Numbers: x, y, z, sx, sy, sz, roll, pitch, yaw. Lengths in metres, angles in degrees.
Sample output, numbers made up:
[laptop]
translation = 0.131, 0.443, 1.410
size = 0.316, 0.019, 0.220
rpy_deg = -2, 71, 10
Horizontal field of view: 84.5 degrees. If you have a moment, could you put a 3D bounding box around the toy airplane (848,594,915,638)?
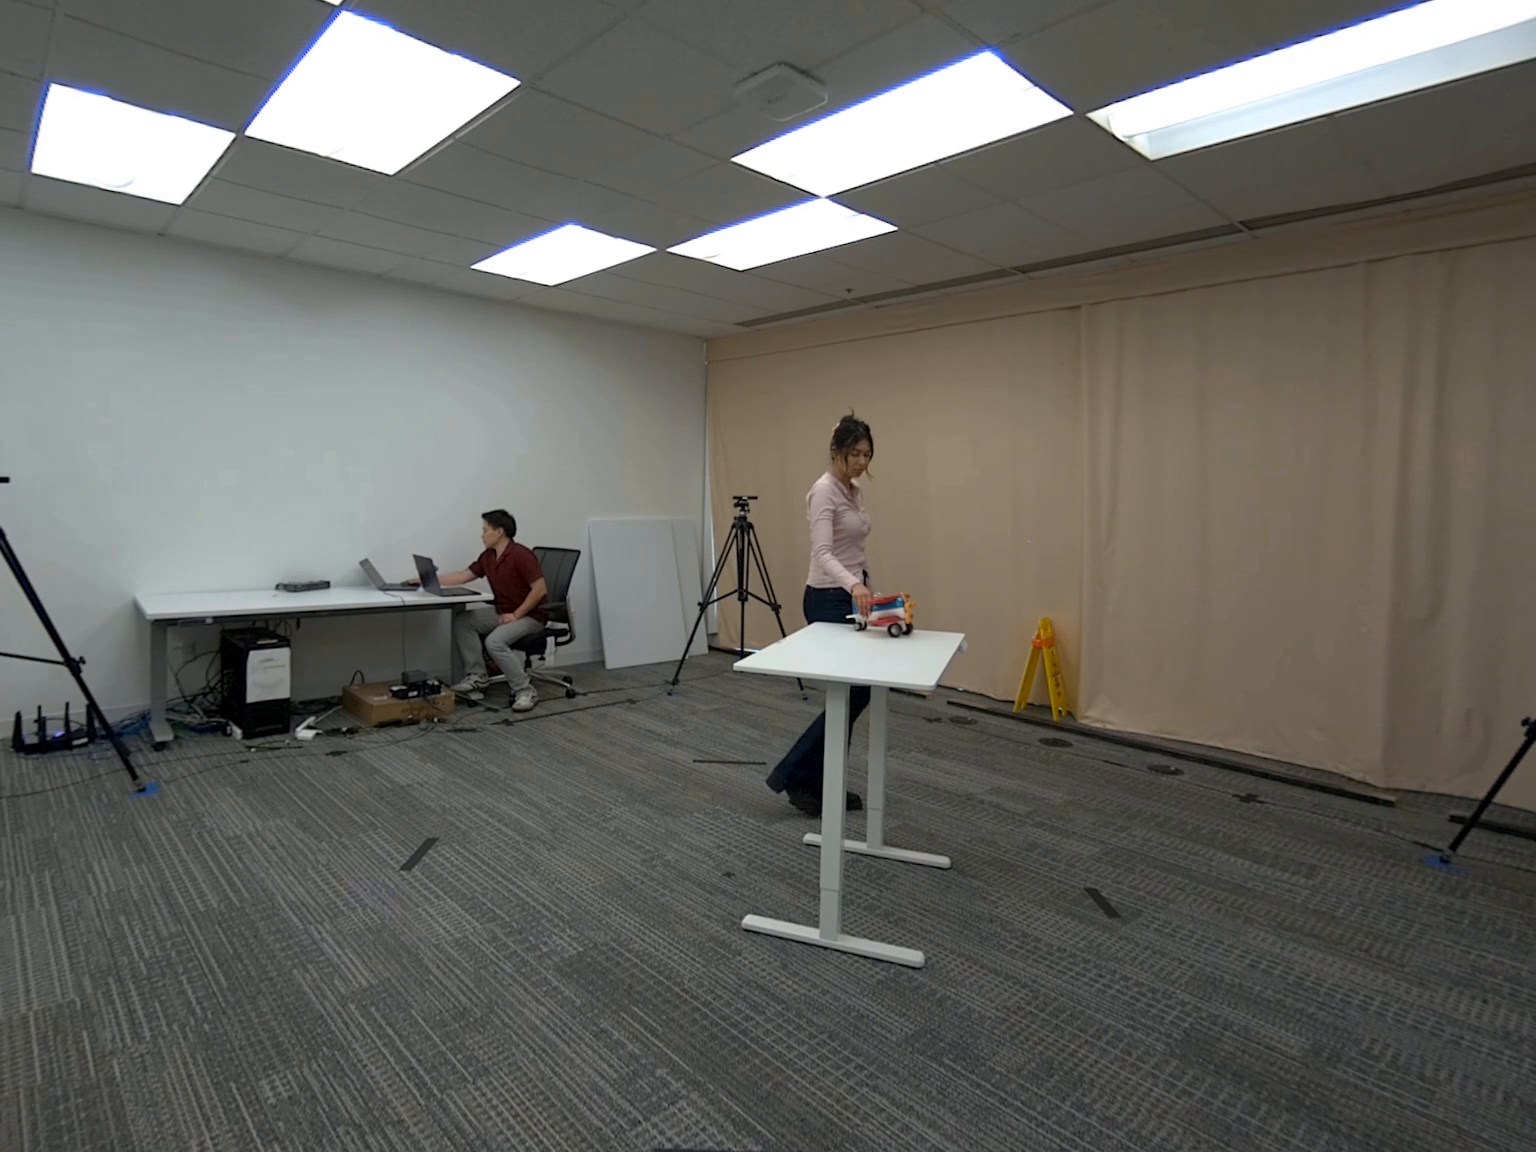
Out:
[toy airplane]
translation = 0.425, 0.149, 3.232
size = 0.261, 0.156, 0.249
rpy_deg = 3, 4, 10
